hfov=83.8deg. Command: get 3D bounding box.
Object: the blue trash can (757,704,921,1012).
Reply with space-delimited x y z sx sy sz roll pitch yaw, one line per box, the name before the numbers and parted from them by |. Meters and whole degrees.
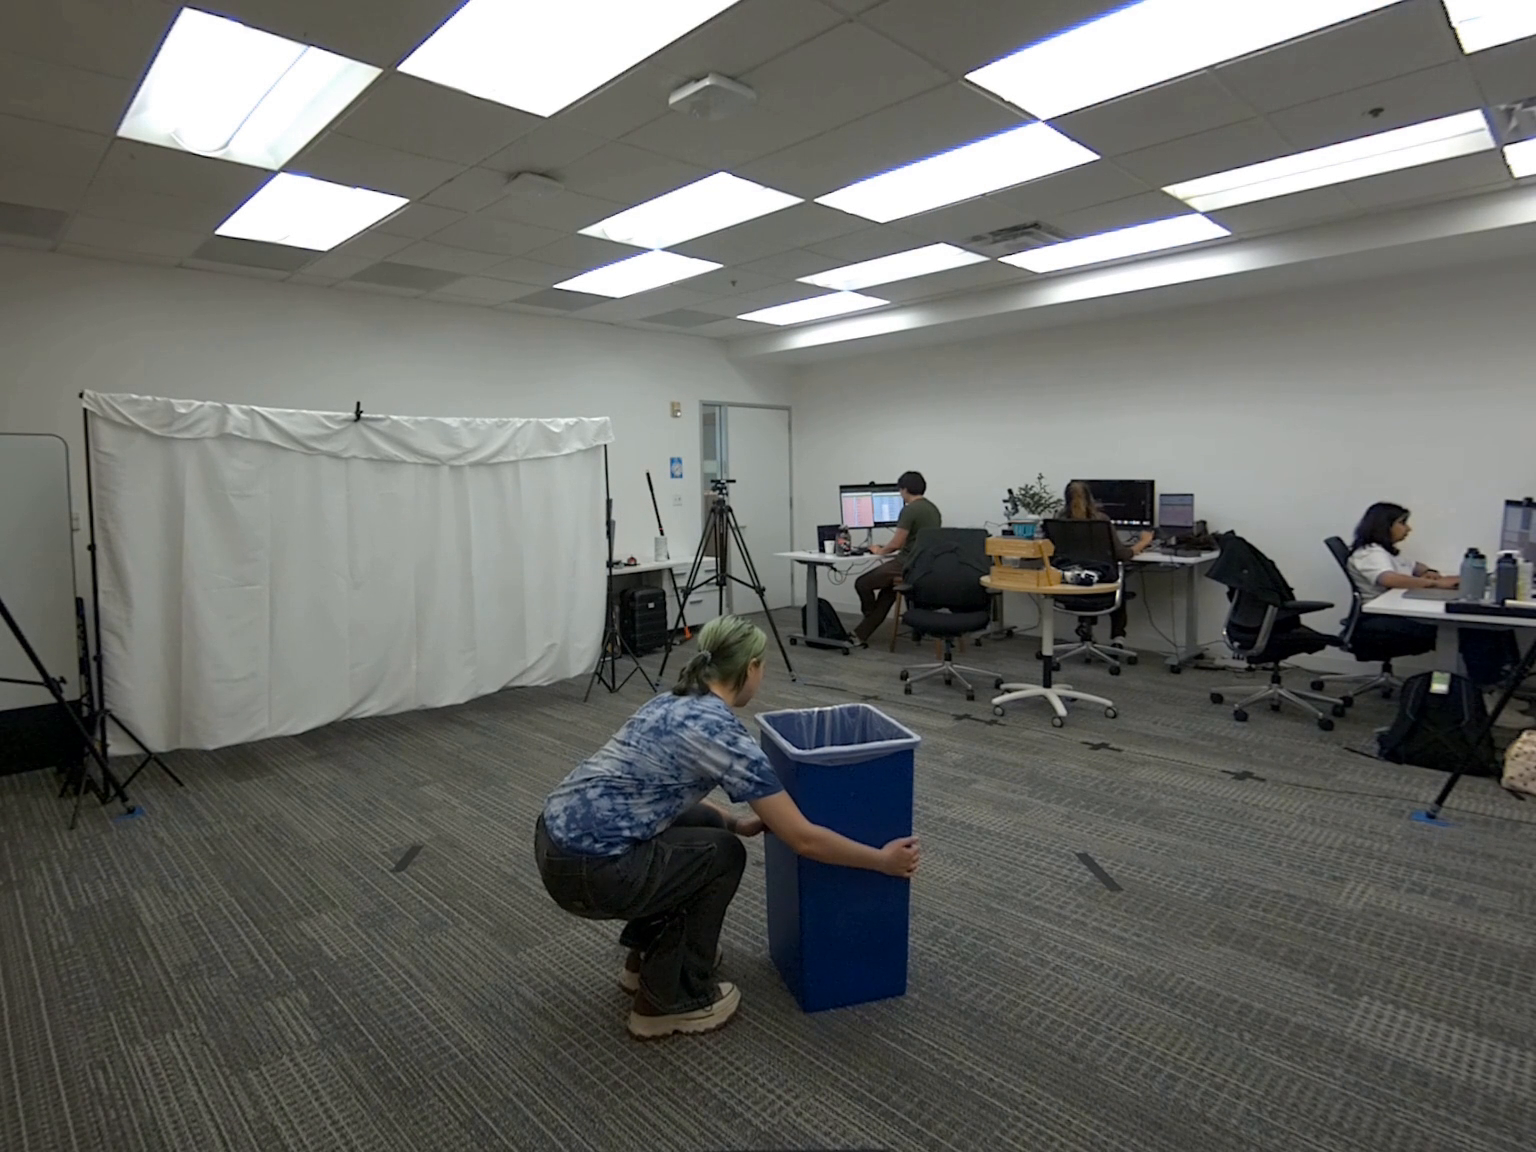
blue trash can | 0.195 0.766 2.381 0.372 0.711 0.381 -2 5 -17
